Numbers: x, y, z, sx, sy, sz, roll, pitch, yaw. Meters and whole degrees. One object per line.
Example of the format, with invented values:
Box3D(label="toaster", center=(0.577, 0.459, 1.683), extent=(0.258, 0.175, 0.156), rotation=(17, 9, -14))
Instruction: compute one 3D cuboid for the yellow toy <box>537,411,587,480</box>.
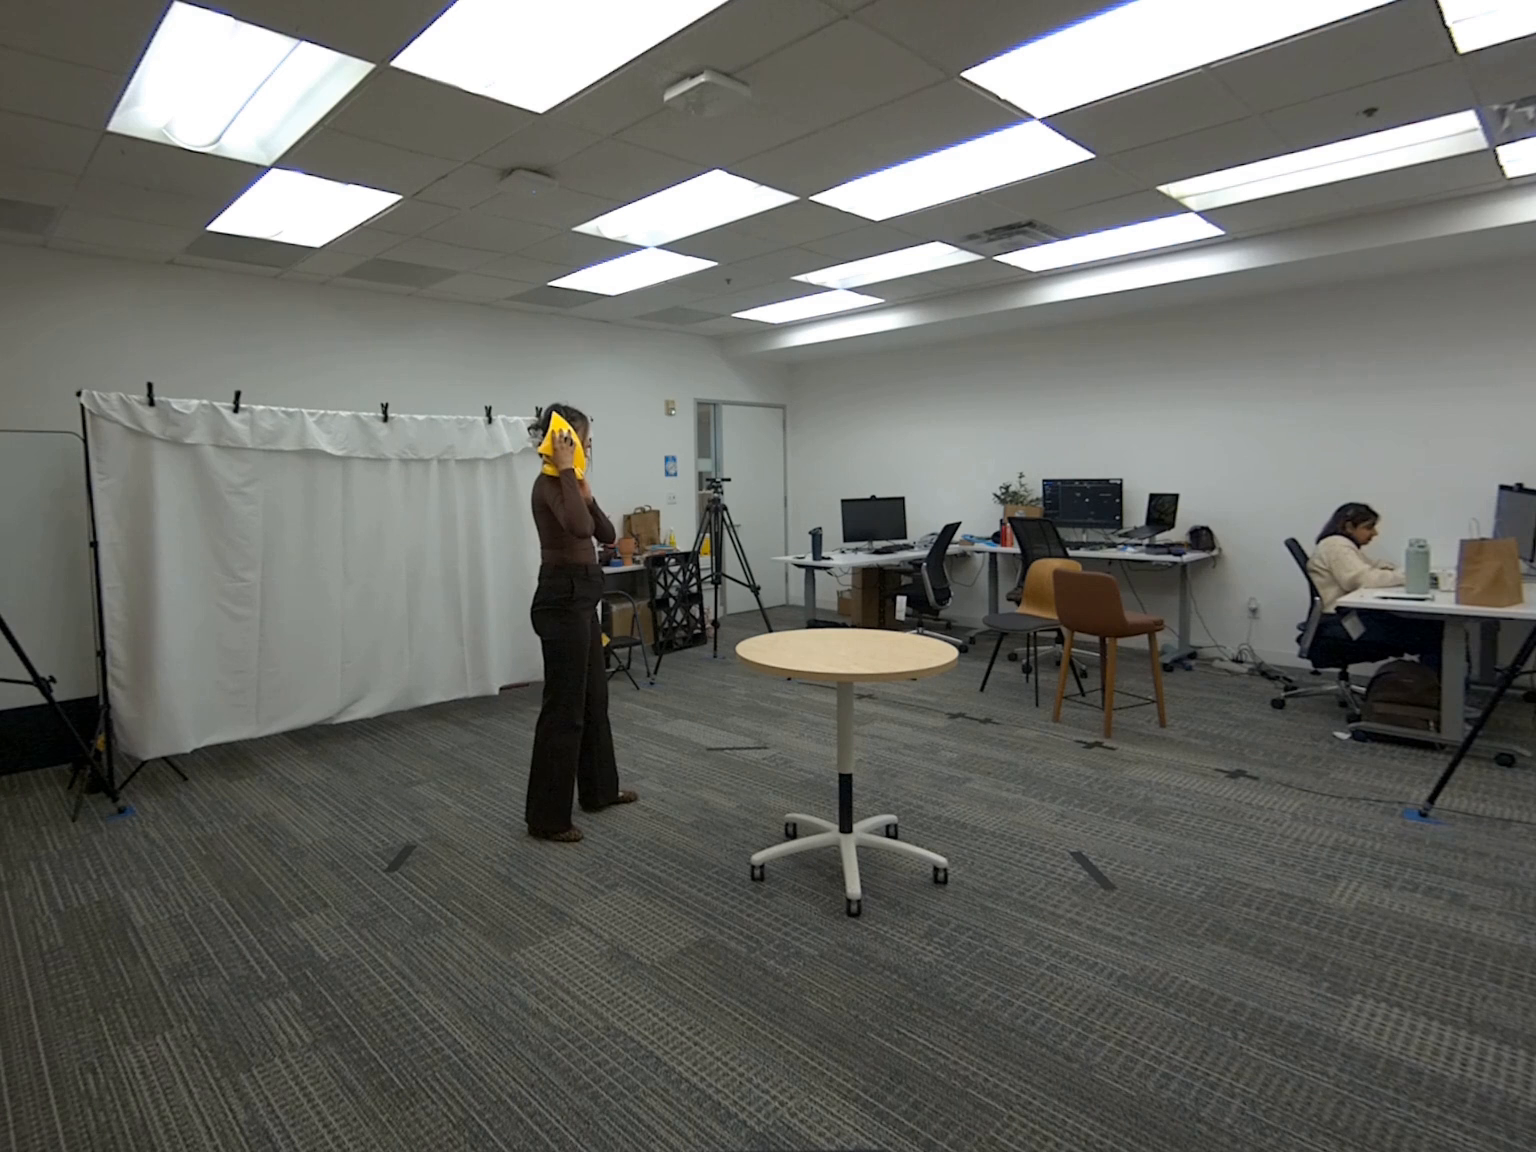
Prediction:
Box3D(label="yellow toy", center=(-0.791, -0.511, 3.309), extent=(0.191, 0.229, 0.209), rotation=(9, 11, -12))
